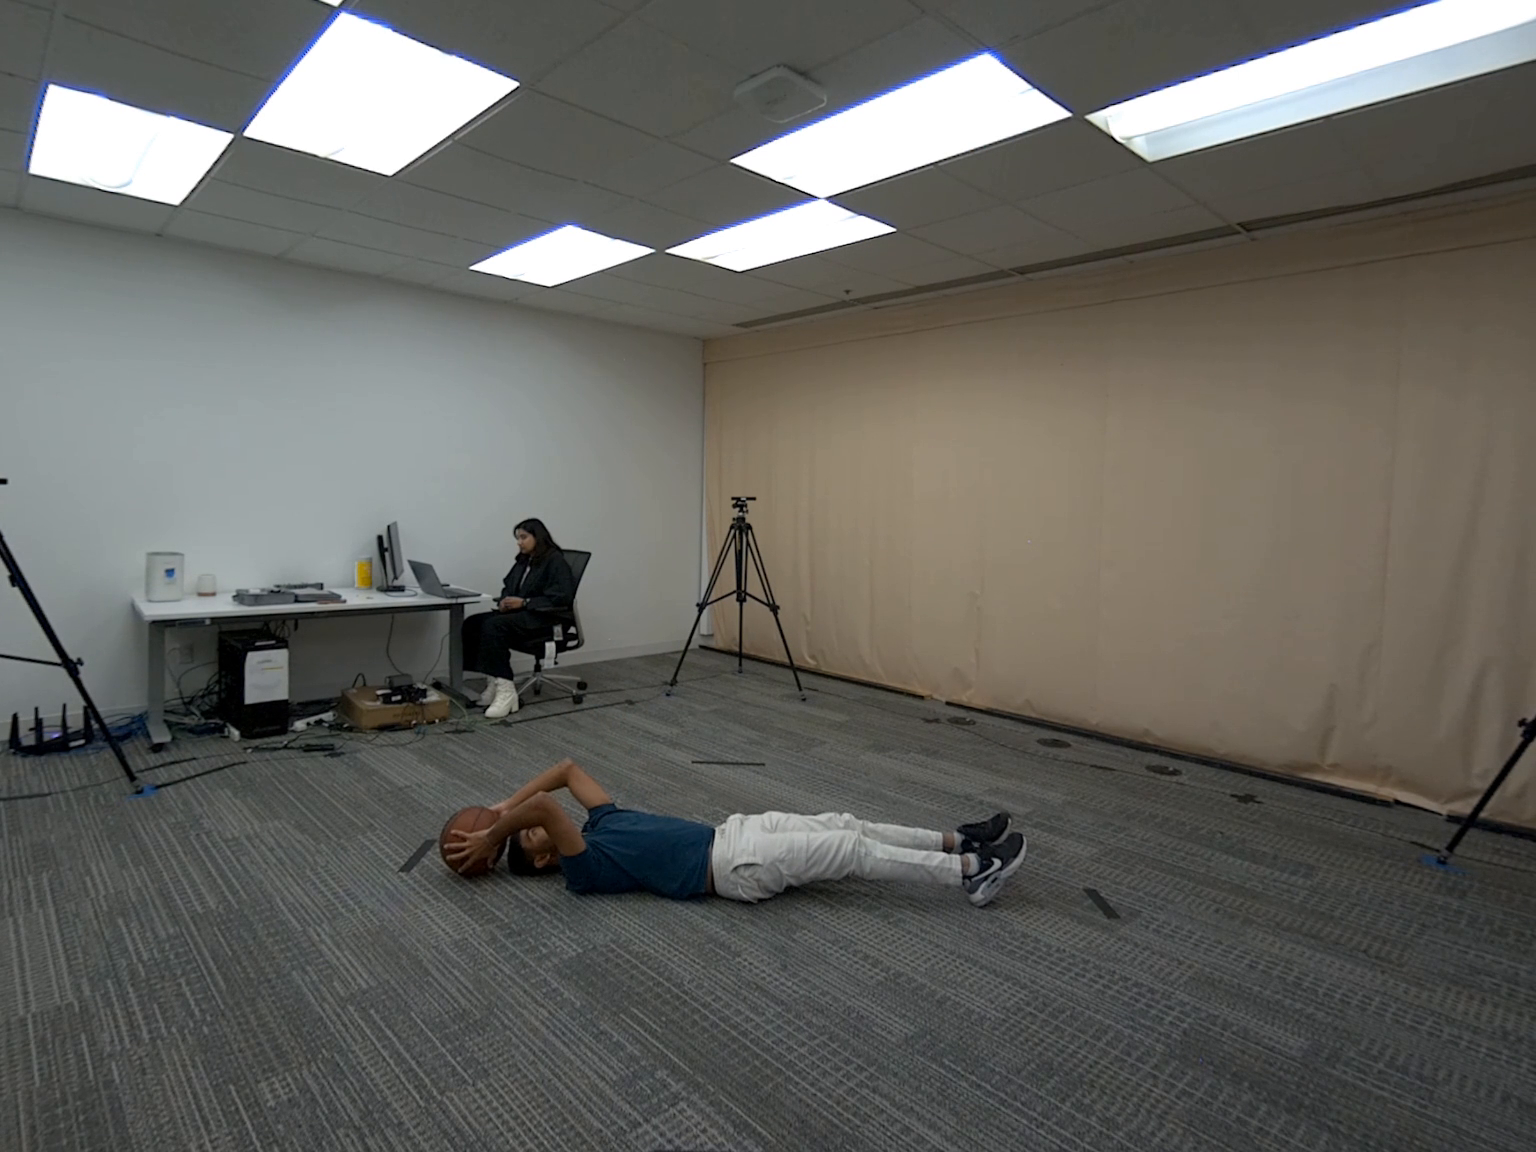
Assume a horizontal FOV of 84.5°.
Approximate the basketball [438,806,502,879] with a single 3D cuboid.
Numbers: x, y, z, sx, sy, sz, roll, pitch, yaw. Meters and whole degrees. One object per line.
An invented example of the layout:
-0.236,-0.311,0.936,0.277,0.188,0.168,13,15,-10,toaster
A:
-1.092,0.969,3.075,0.236,0.235,0.237,1,4,-1,basketball
